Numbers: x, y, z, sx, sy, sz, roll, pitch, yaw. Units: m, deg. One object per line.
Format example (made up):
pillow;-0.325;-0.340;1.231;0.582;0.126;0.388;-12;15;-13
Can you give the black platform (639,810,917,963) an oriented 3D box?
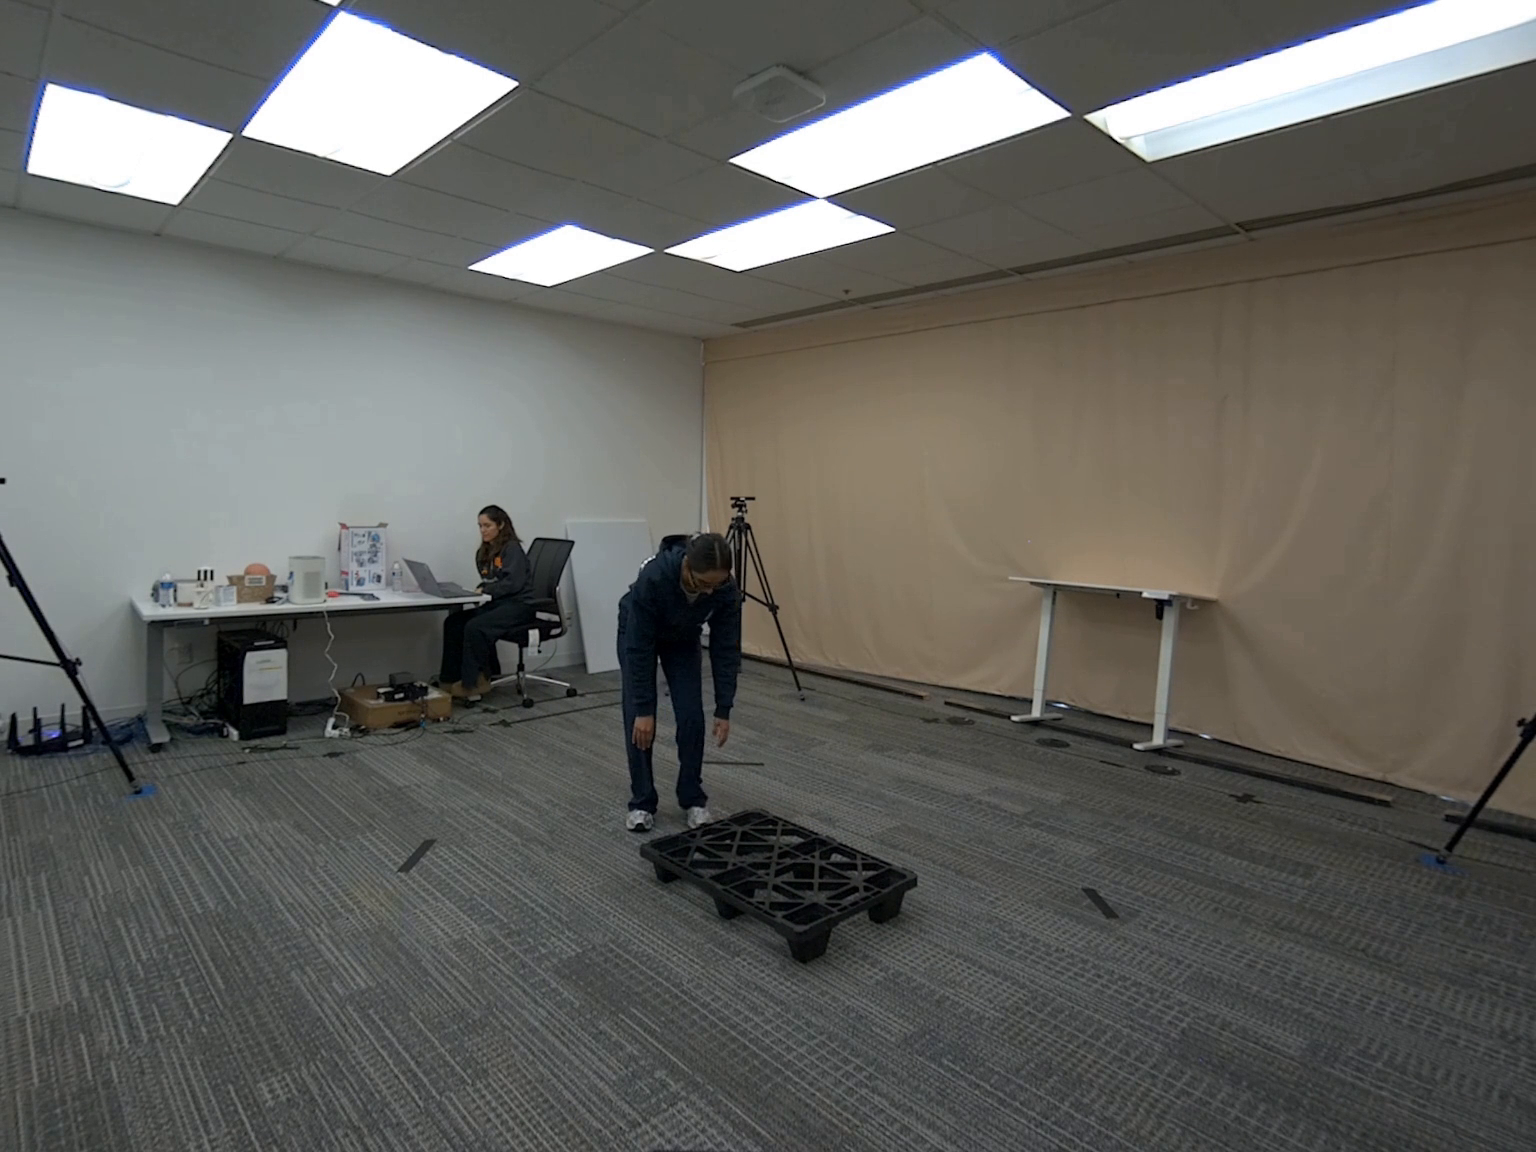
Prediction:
black platform;0.016;1.058;2.951;0.591;0.143;0.826;-3;7;-43
